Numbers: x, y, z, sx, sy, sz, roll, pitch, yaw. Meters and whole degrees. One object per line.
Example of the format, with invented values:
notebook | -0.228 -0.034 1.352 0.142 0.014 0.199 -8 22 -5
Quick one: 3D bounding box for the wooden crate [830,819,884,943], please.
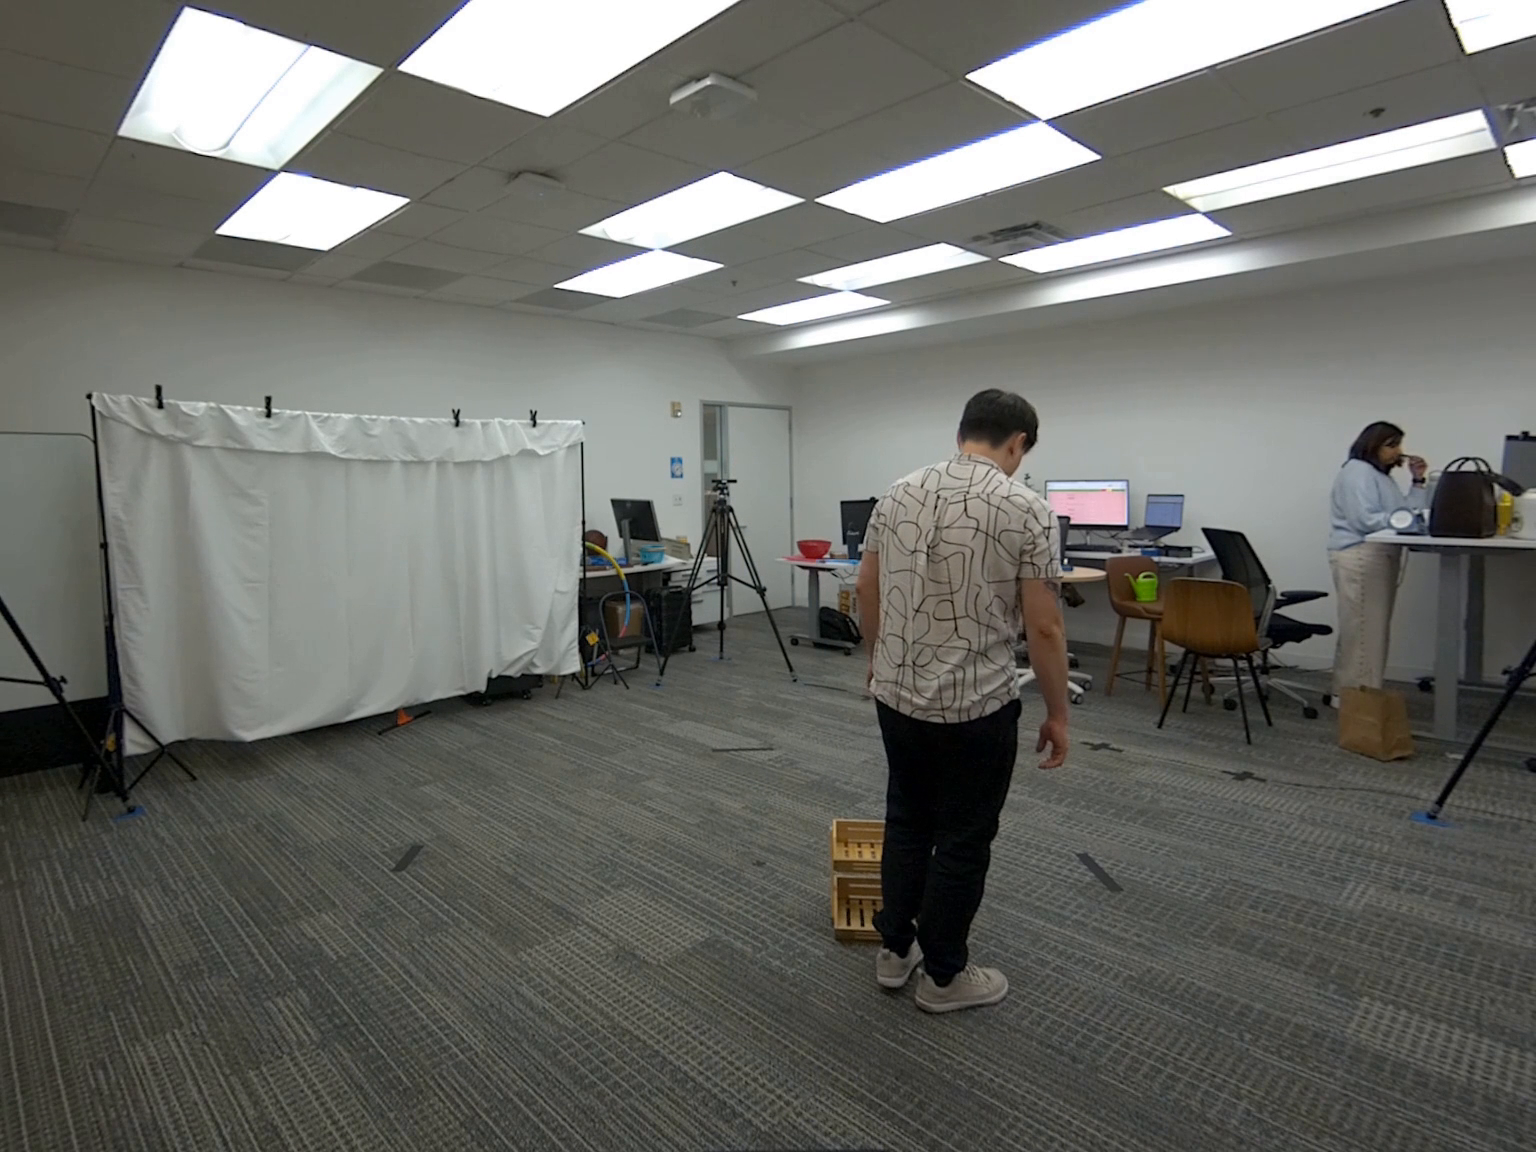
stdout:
wooden crate | 0.368 0.957 2.682 0.326 0.272 0.301 -1 5 5
